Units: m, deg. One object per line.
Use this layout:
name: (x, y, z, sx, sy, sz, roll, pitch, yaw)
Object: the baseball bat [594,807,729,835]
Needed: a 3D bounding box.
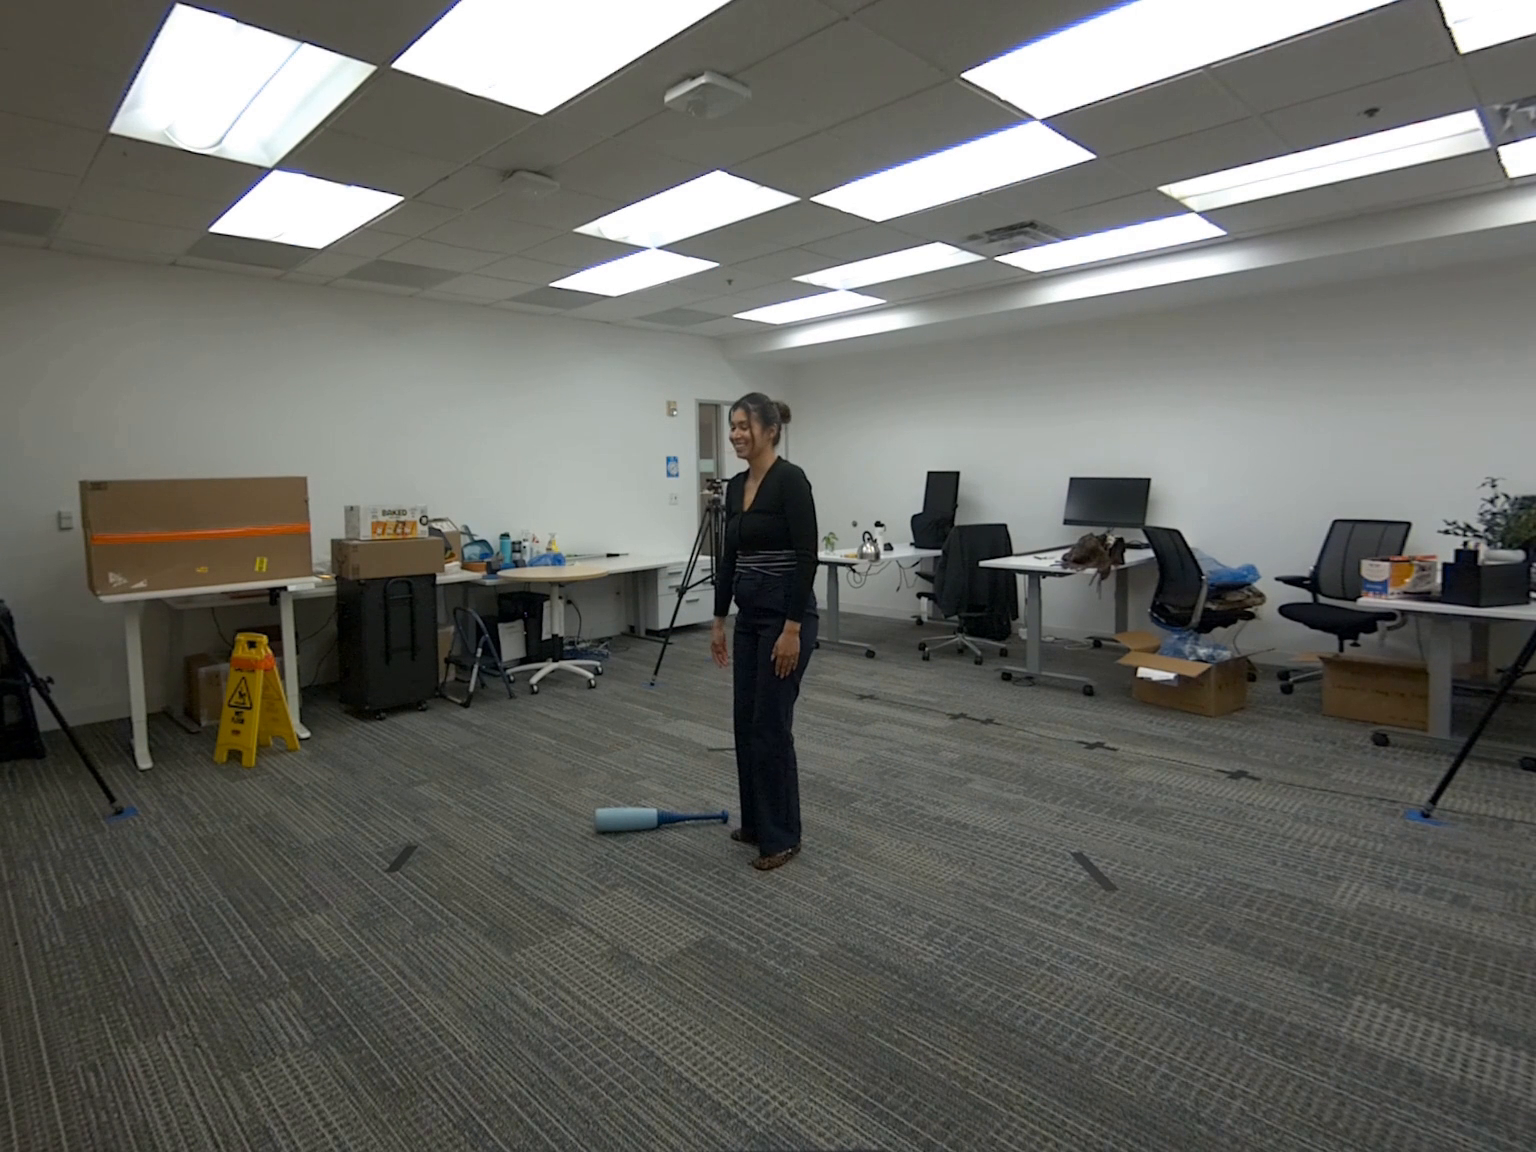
baseball bat: (-0.429, 0.978, 3.436, 0.538, 0.089, 0.090, 1, 4, -9)
